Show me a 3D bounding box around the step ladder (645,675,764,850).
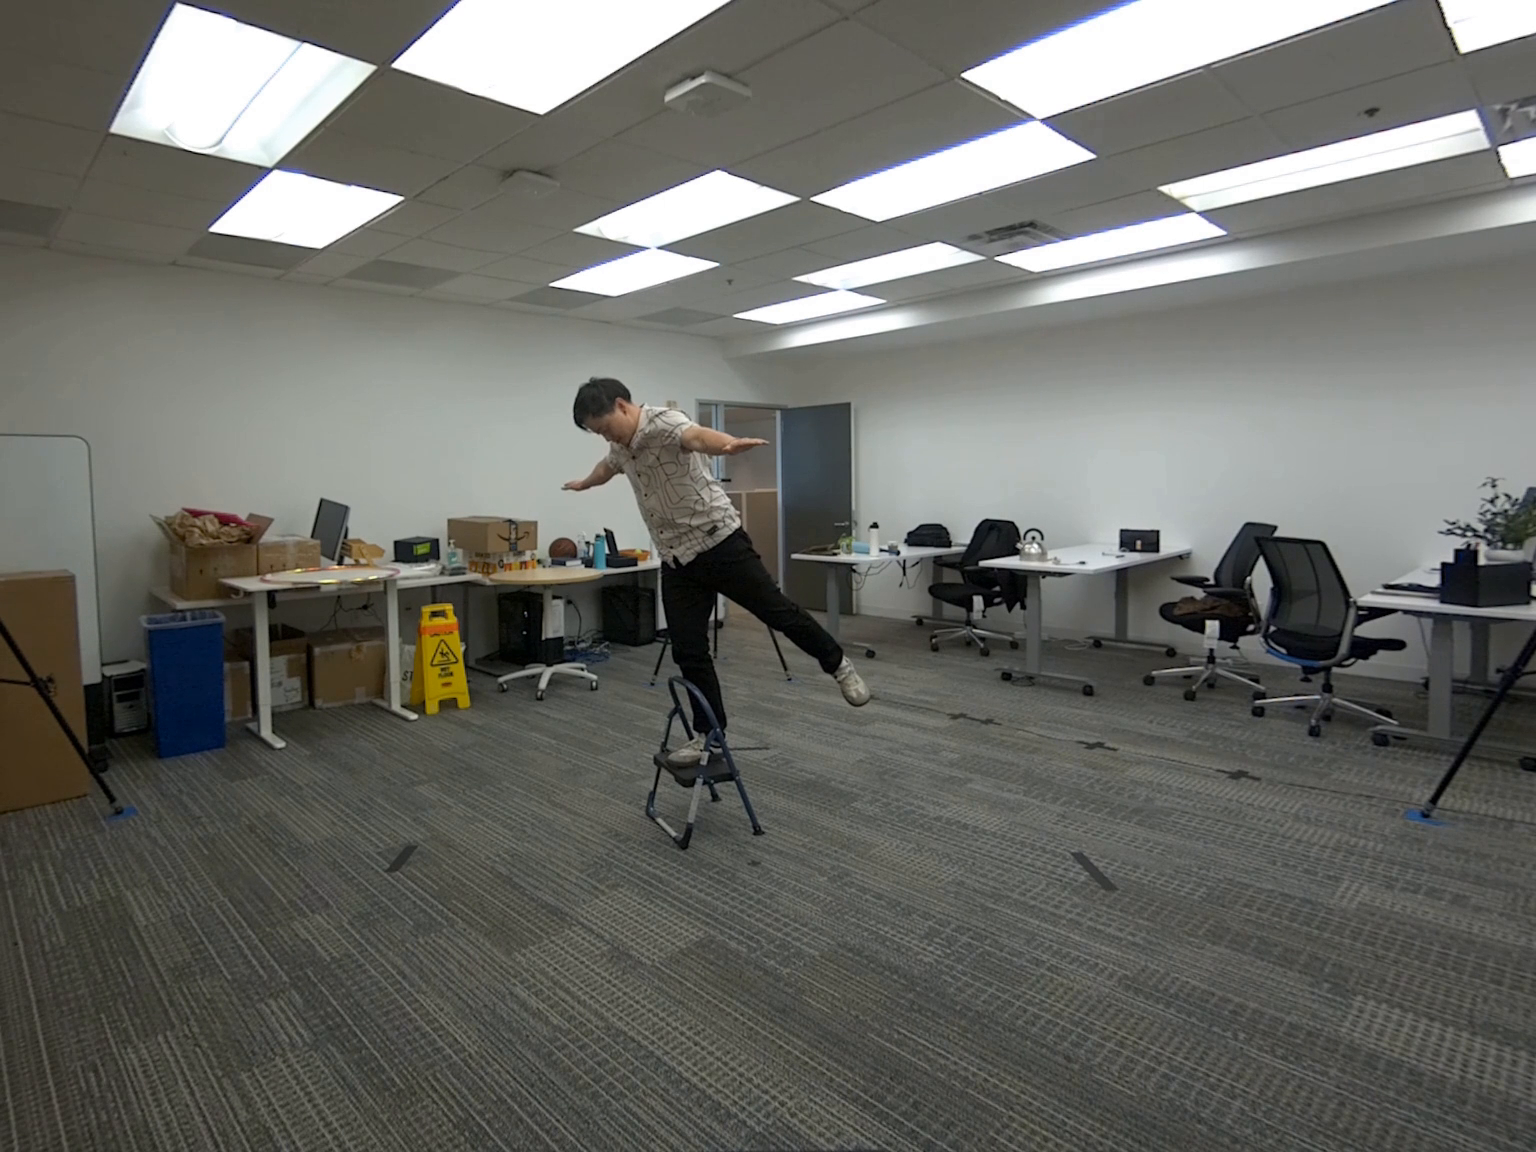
[{"bbox_3d":[-0.271,0.704,3.461,0.341,0.604,0.442,-3,5,-28],"label":"step ladder"}]
